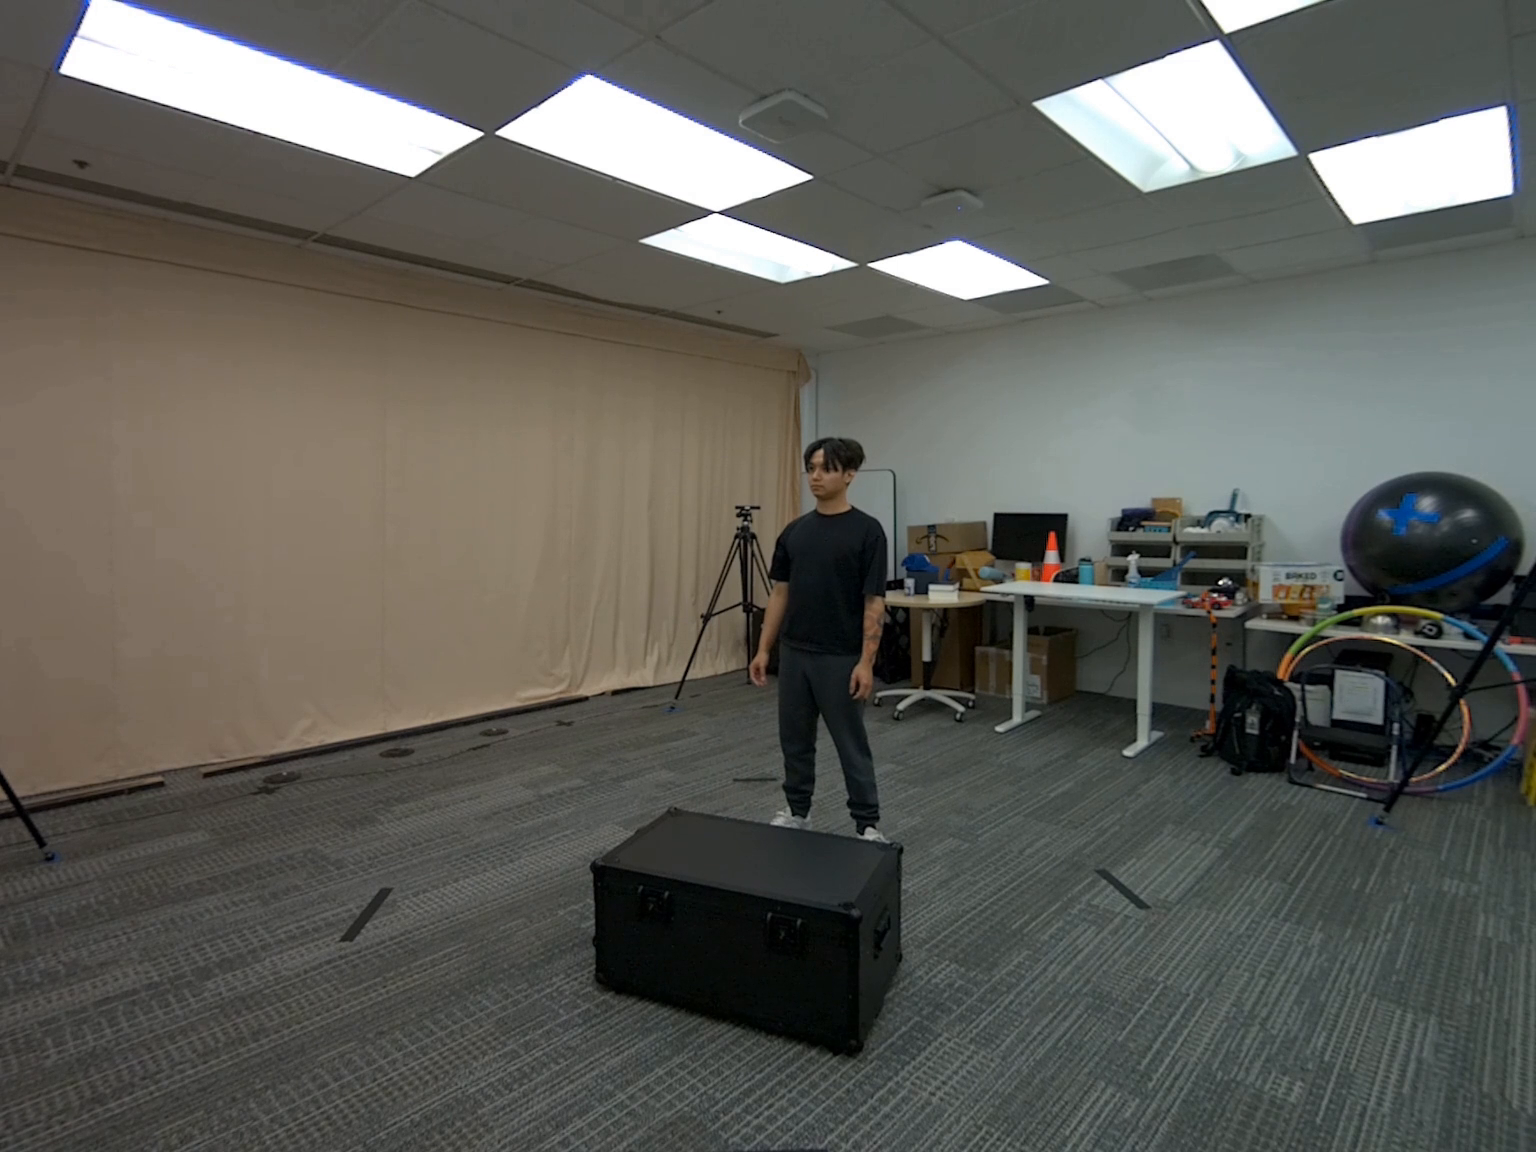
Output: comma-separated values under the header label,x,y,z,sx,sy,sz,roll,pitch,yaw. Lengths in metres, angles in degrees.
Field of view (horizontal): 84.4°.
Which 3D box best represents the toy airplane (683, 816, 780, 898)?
label,x,y,z,sx,sy,sz,roll,pitch,yaw
toy airplane,-0.142,1.049,3.192,0.268,0.156,0.243,5,7,44
